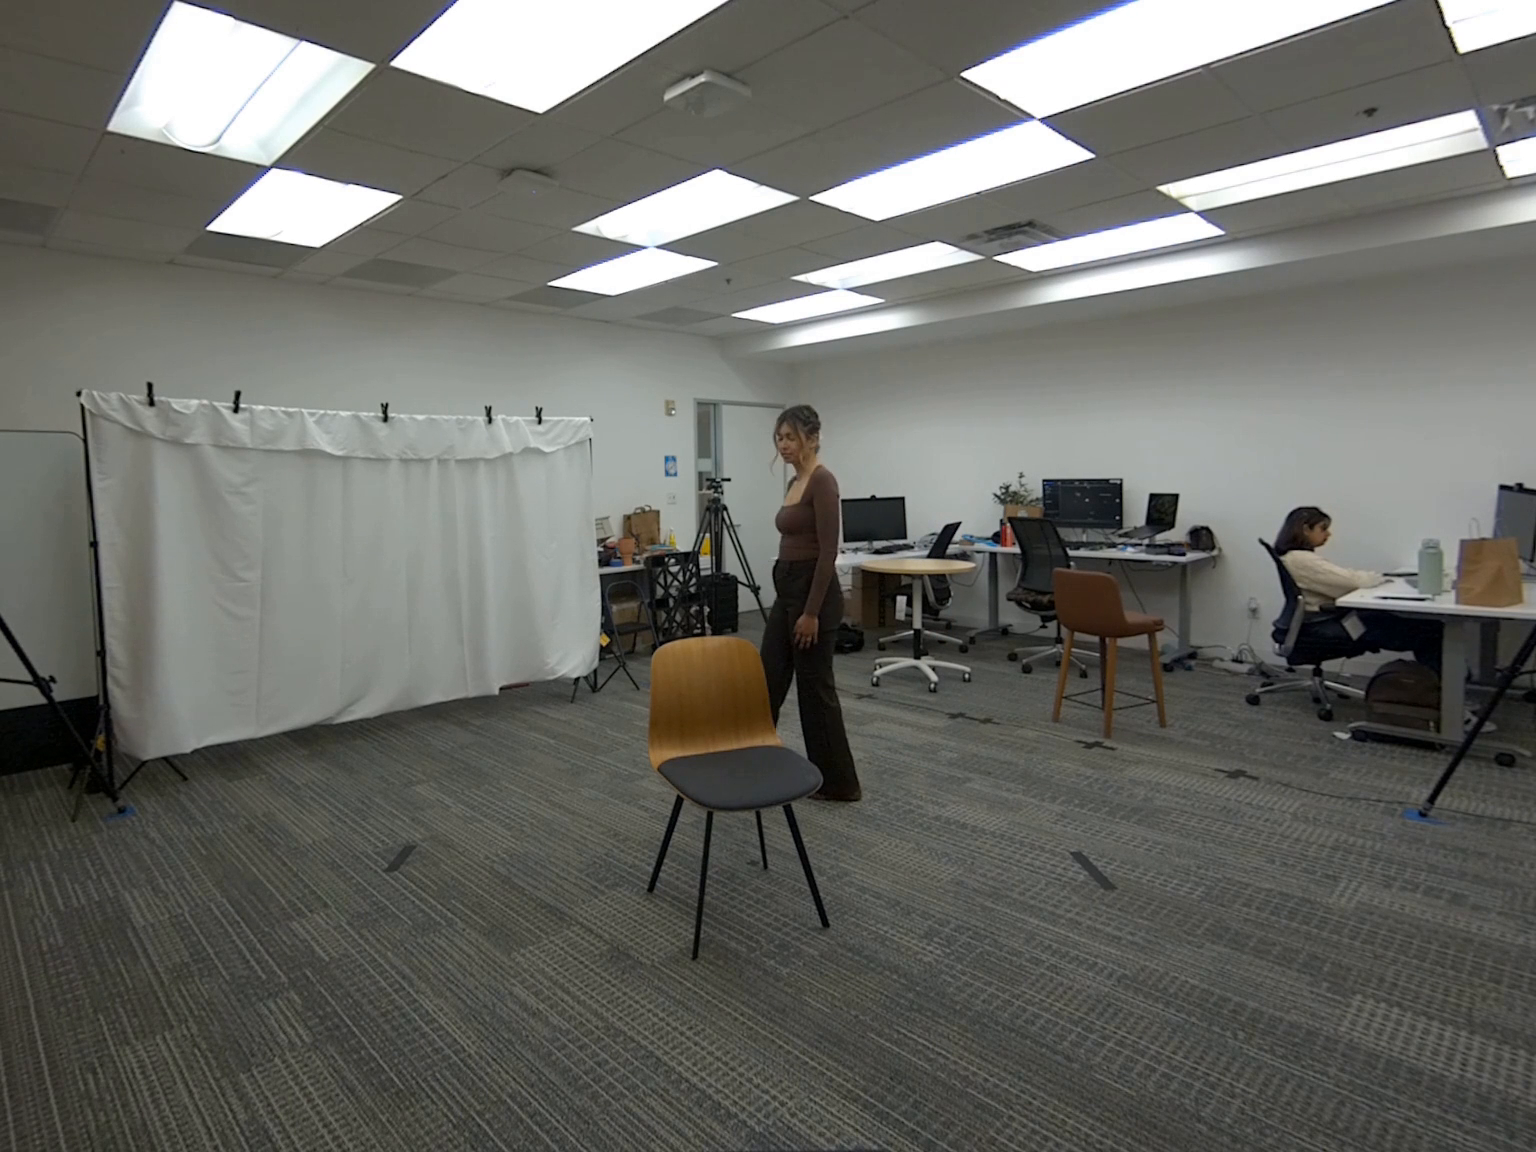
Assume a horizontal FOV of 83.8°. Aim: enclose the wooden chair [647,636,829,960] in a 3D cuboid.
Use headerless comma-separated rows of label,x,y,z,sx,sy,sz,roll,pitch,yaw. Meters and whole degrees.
wooden chair,-0.114,0.662,2.733,0.468,0.877,0.534,-3,1,-24
